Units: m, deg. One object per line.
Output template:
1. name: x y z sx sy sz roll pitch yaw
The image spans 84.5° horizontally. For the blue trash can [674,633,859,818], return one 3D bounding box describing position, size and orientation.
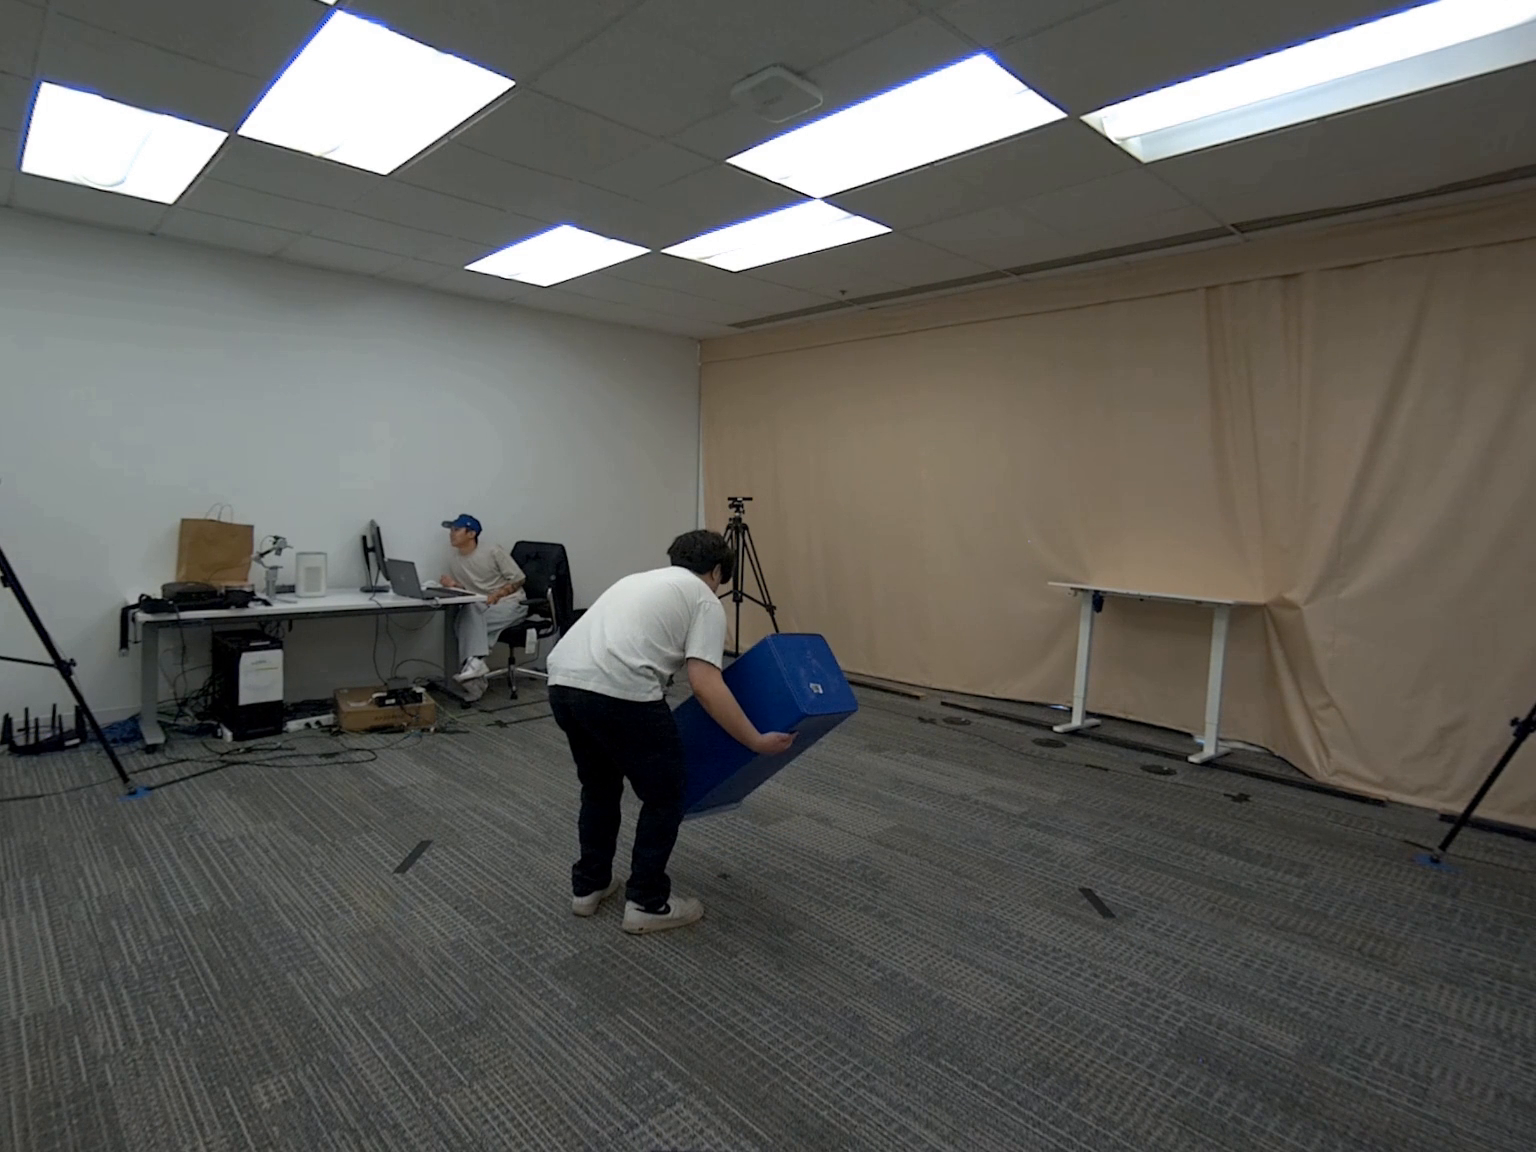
1. blue trash can: -0.081 0.527 2.981 0.368 0.383 0.715 5 -39 -47
